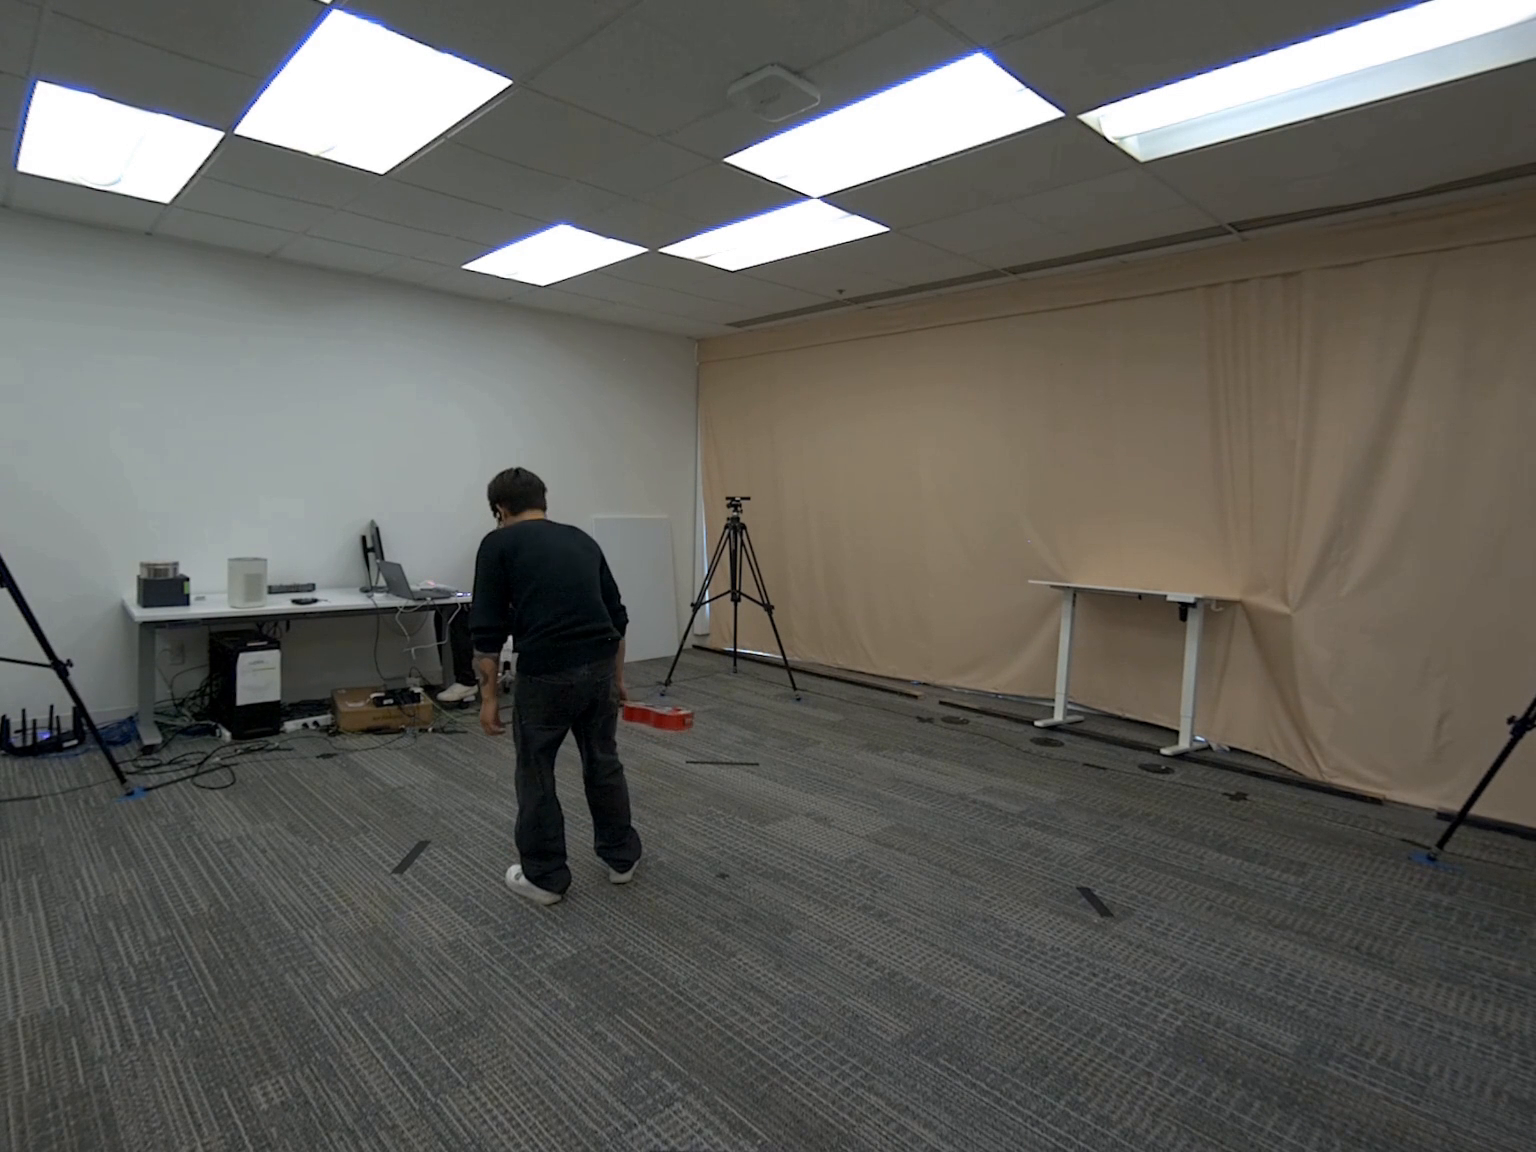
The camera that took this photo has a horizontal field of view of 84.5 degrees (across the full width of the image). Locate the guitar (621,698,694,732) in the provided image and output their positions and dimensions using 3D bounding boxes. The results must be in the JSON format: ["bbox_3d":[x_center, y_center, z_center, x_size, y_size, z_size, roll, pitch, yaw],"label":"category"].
[{"bbox_3d":[-0.525,0.519,3.239,0.509,0.071,0.188,6,0,30],"label":"guitar"}]
